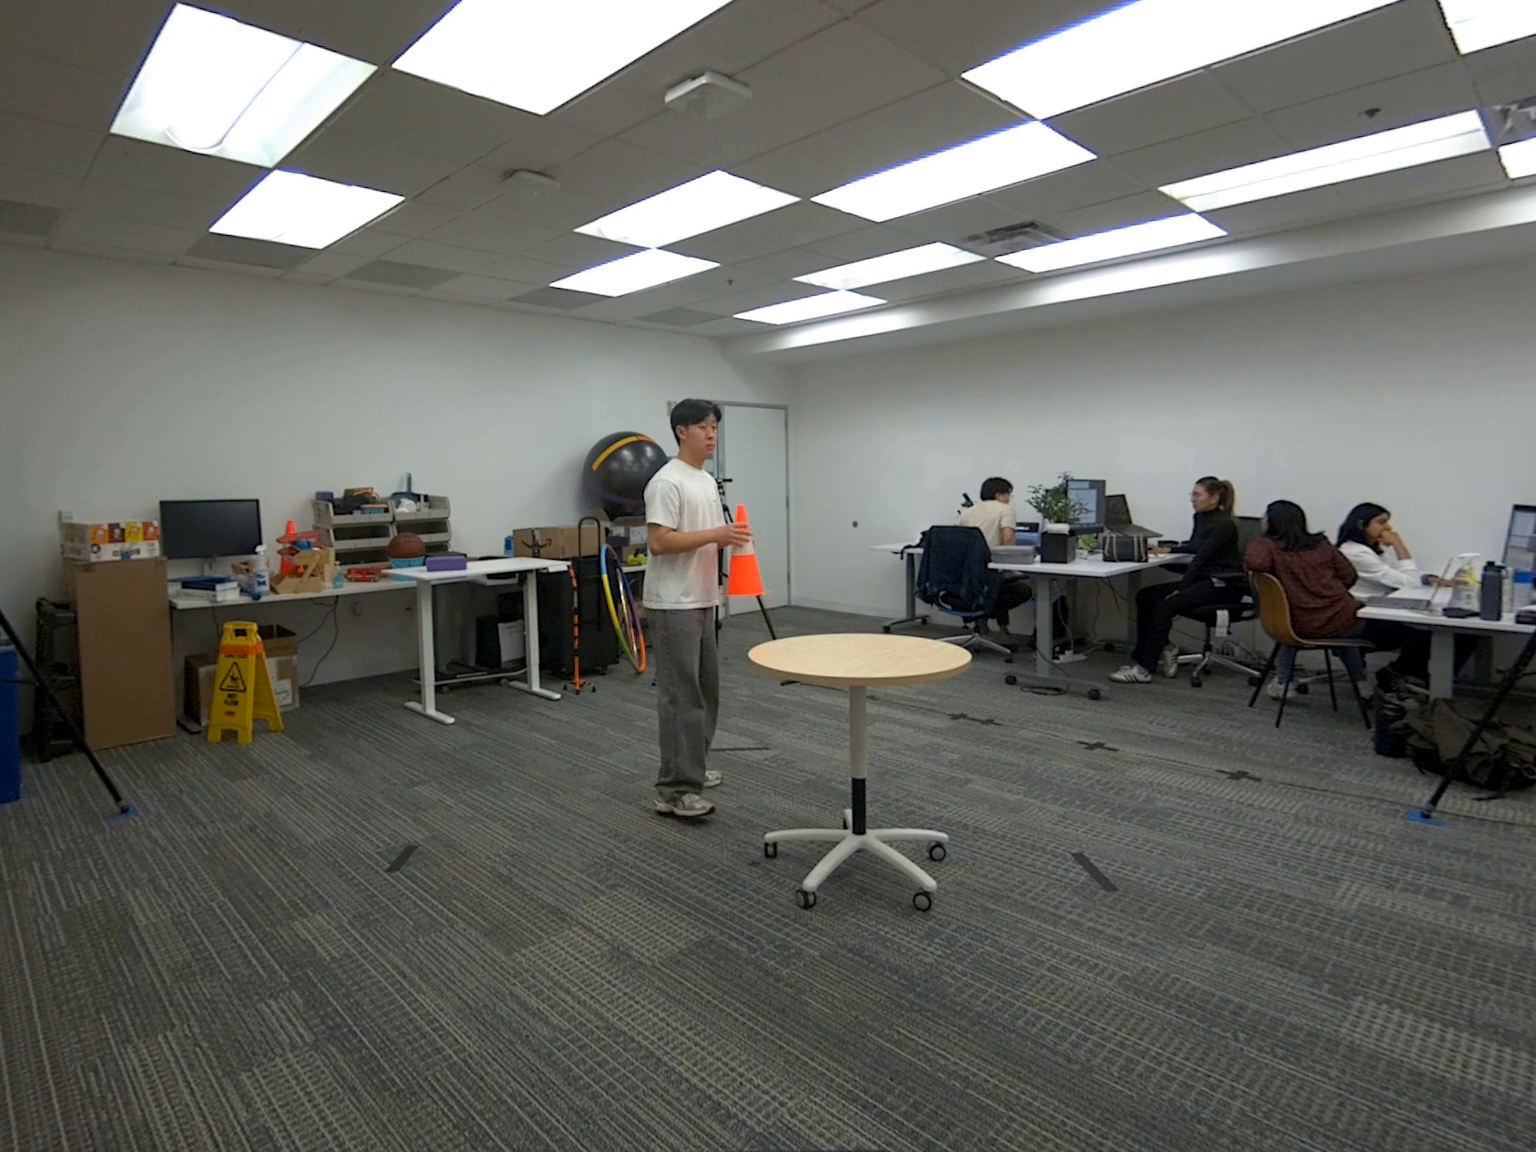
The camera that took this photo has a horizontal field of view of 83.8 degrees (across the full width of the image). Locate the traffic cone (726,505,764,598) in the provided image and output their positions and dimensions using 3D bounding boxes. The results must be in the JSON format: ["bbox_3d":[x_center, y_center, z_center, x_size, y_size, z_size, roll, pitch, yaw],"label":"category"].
[{"bbox_3d":[-0.122,-0.114,3.684,0.208,0.383,0.200,-1,2,27],"label":"traffic cone"}]
